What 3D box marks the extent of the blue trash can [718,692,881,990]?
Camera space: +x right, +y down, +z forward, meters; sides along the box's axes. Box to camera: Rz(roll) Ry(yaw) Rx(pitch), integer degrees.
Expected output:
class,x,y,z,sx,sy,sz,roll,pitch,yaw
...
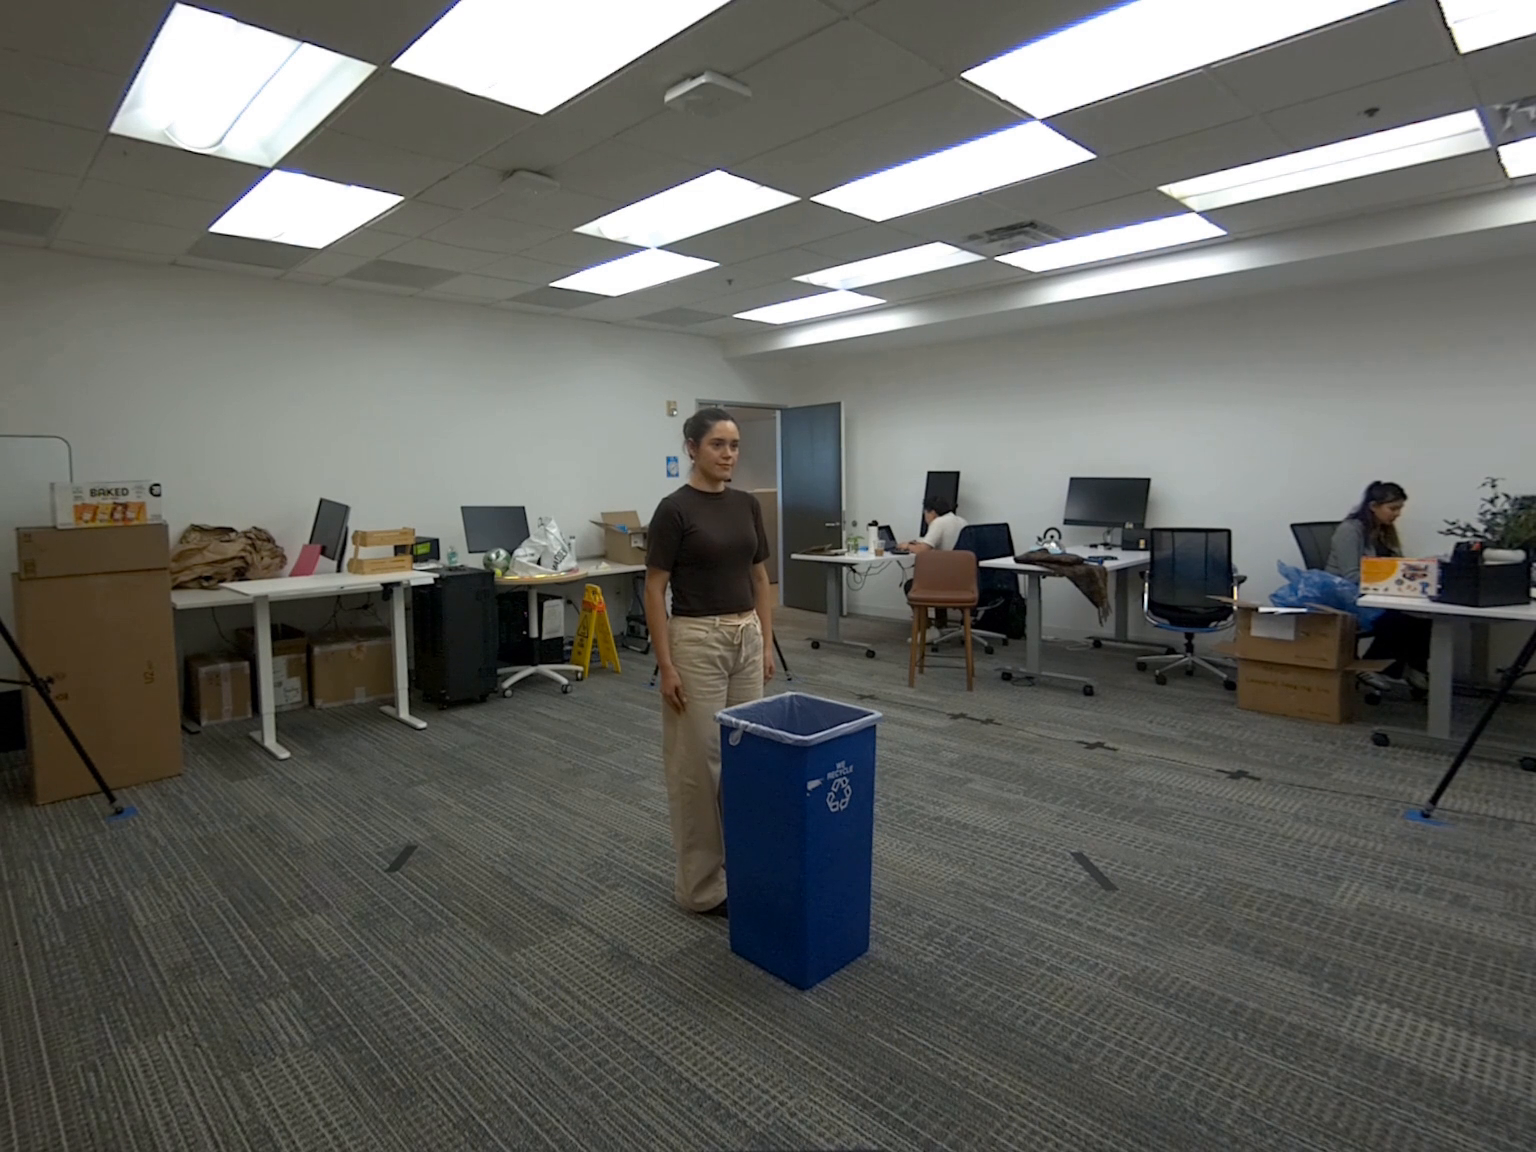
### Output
class,x,y,z,sx,sy,sz,roll,pitch,yaw
blue trash can,0.103,0.754,2.504,0.385,0.711,0.368,3,6,44
